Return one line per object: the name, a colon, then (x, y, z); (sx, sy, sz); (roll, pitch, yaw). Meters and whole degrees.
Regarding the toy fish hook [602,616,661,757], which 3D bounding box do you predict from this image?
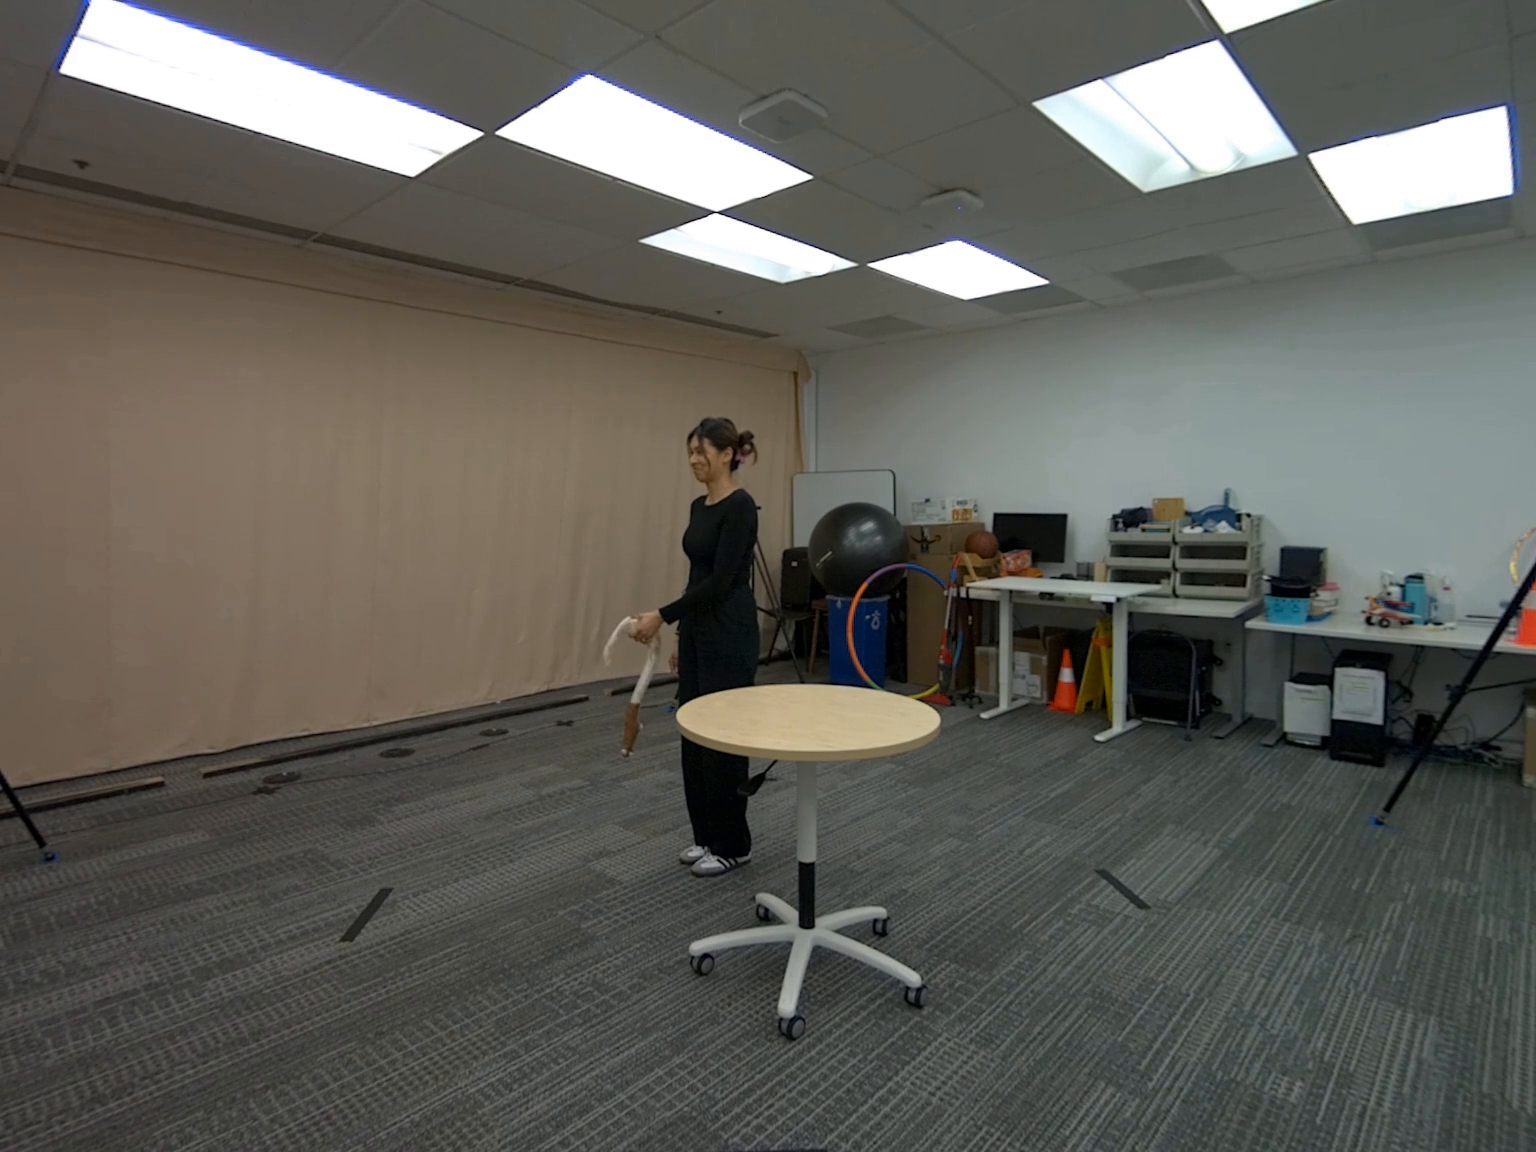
toy fish hook: (-0.518, 0.394, 3.082); (0.219, 0.507, 0.049); (11, -4, -25)
